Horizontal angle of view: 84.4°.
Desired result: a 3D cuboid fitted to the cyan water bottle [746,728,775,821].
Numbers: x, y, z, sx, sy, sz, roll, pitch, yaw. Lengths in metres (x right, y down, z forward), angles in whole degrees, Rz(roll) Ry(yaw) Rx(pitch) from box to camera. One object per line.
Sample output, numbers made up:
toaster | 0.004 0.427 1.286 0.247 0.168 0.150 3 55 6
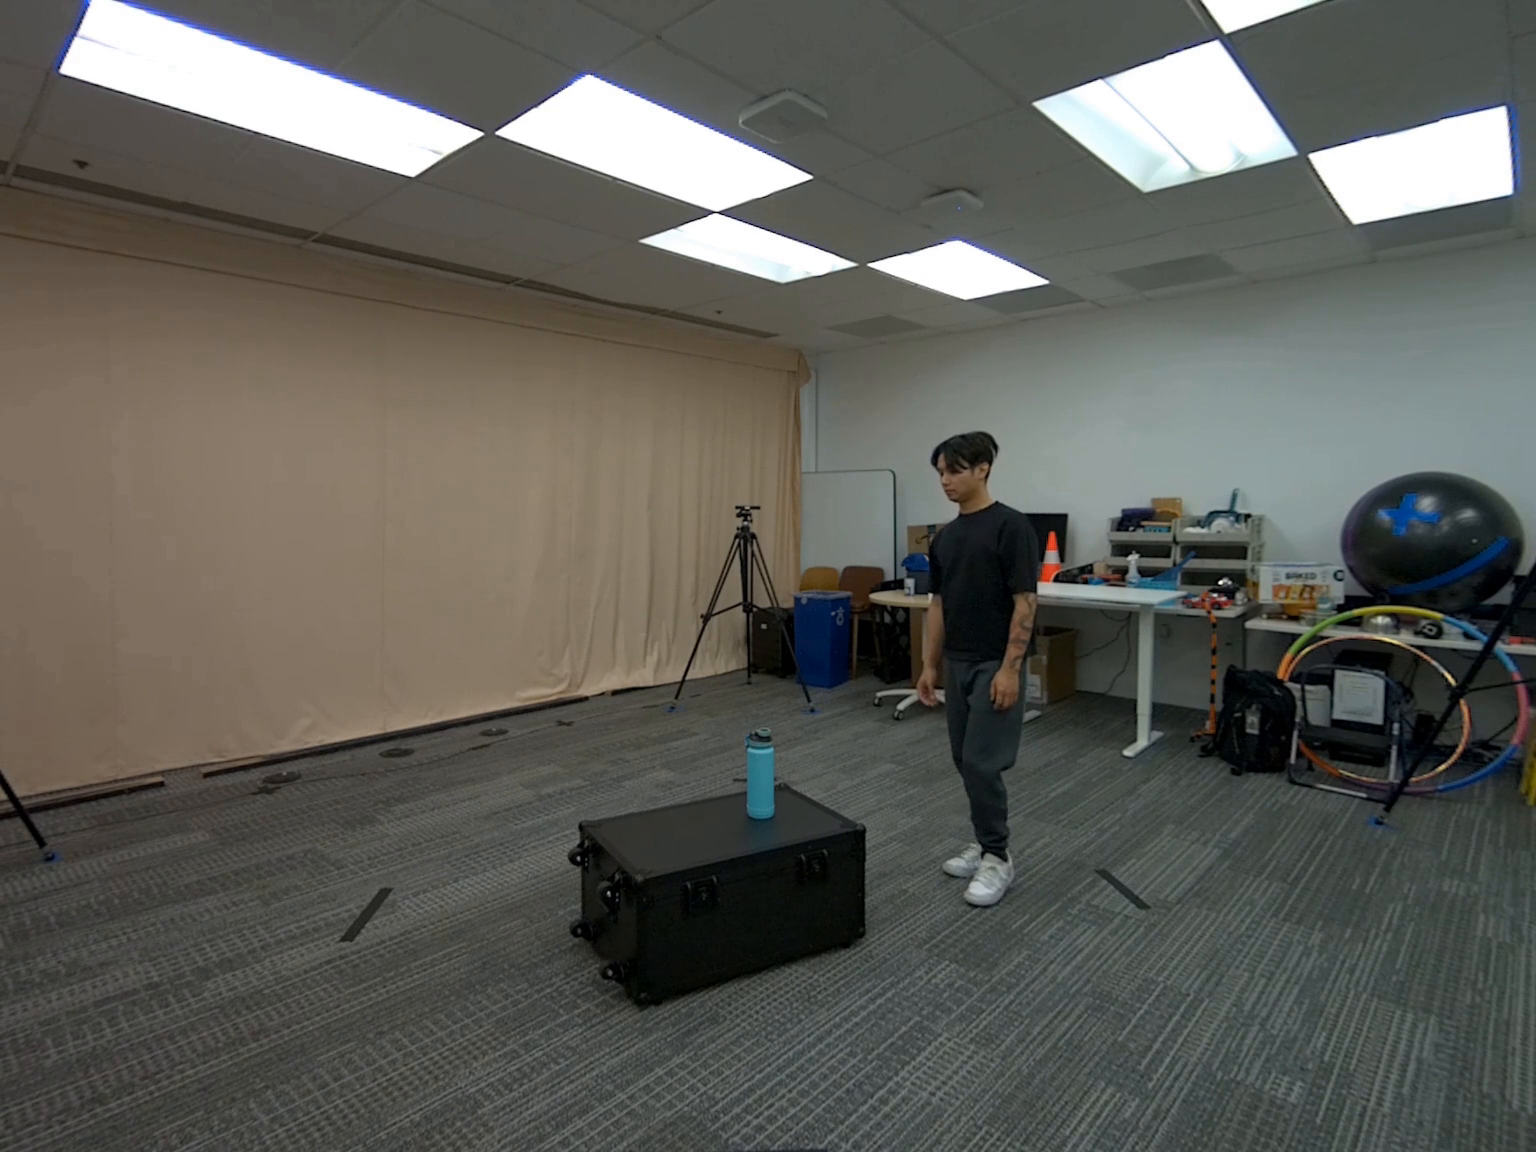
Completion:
cyan water bottle | -0.024 0.644 2.770 0.092 0.283 0.092 -3 2 -2
